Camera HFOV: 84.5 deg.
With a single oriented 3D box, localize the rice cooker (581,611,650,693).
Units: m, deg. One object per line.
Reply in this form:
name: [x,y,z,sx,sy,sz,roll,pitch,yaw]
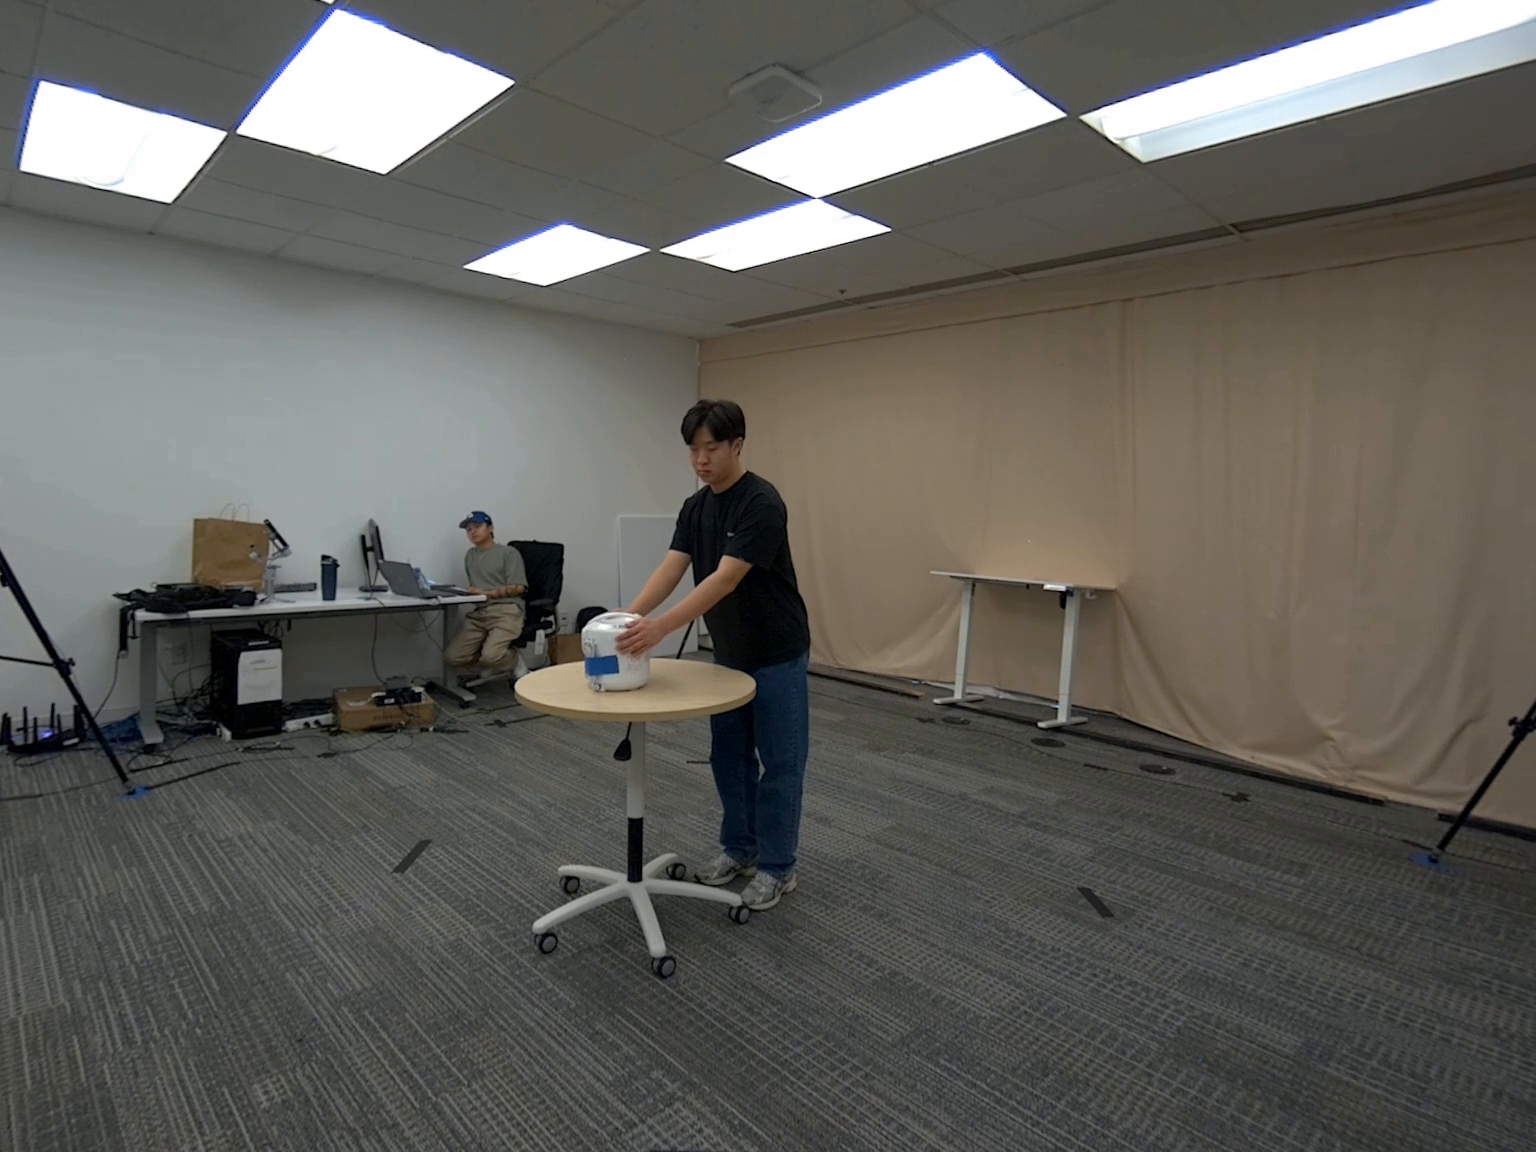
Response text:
rice cooker: [-0.482,0.233,2.643,0.218,0.232,0.220,2,4,-13]
